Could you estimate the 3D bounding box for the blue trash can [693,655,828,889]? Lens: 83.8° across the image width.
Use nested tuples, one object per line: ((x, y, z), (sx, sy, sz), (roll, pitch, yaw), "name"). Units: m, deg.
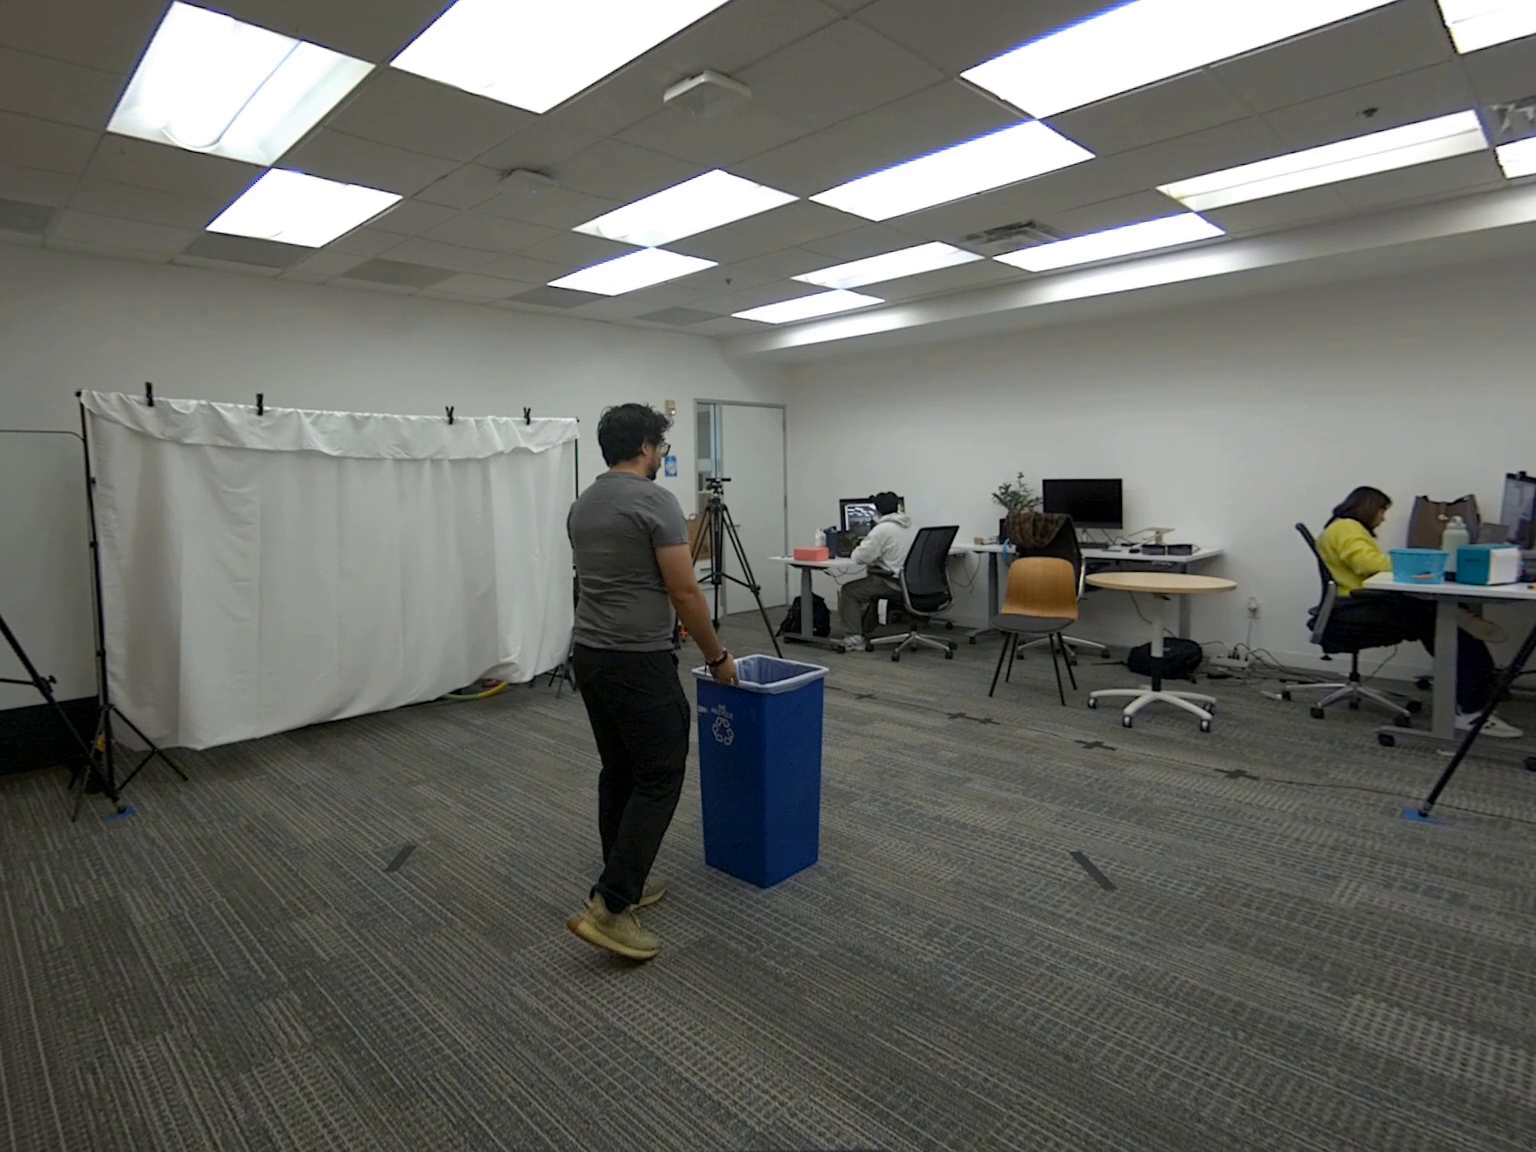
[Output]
((-0.026, 0.687, 3.079), (0.390, 0.711, 0.364), (3, 5, 42), "blue trash can")
